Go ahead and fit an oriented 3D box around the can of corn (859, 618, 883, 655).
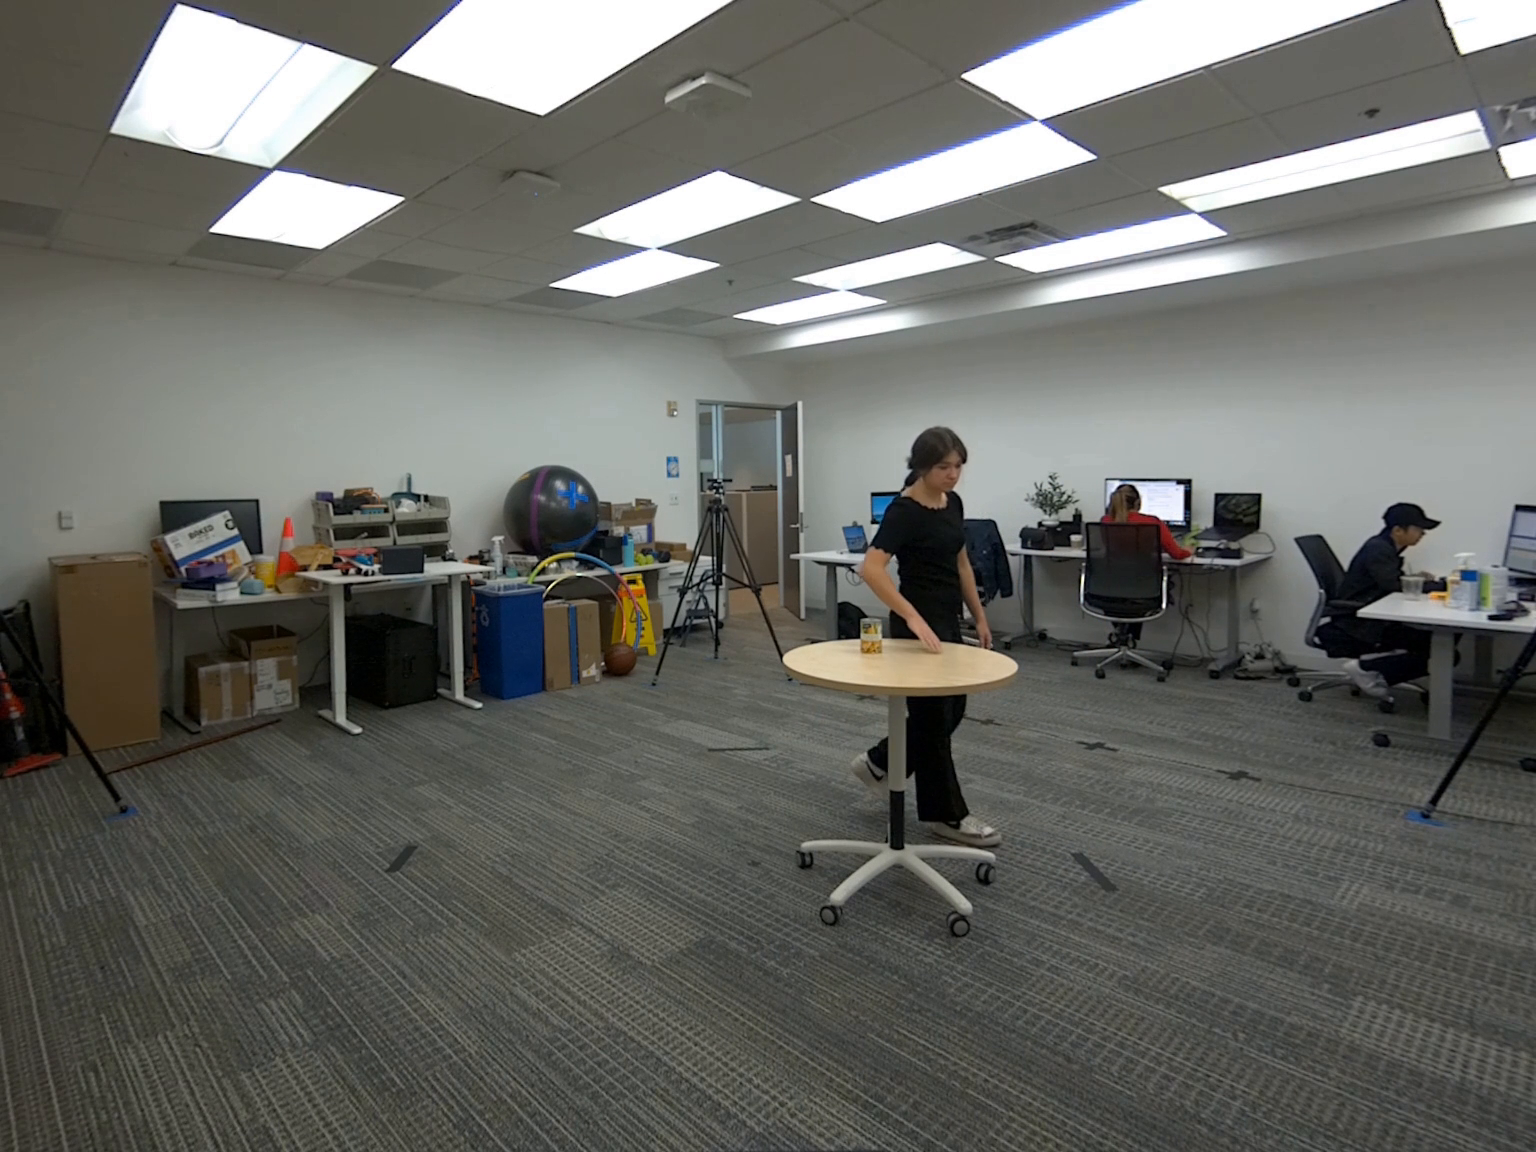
[{"bbox_3d":[0.366,0.212,2.994,0.074,0.110,0.074,2,5,-2],"label":"can of corn"}]
